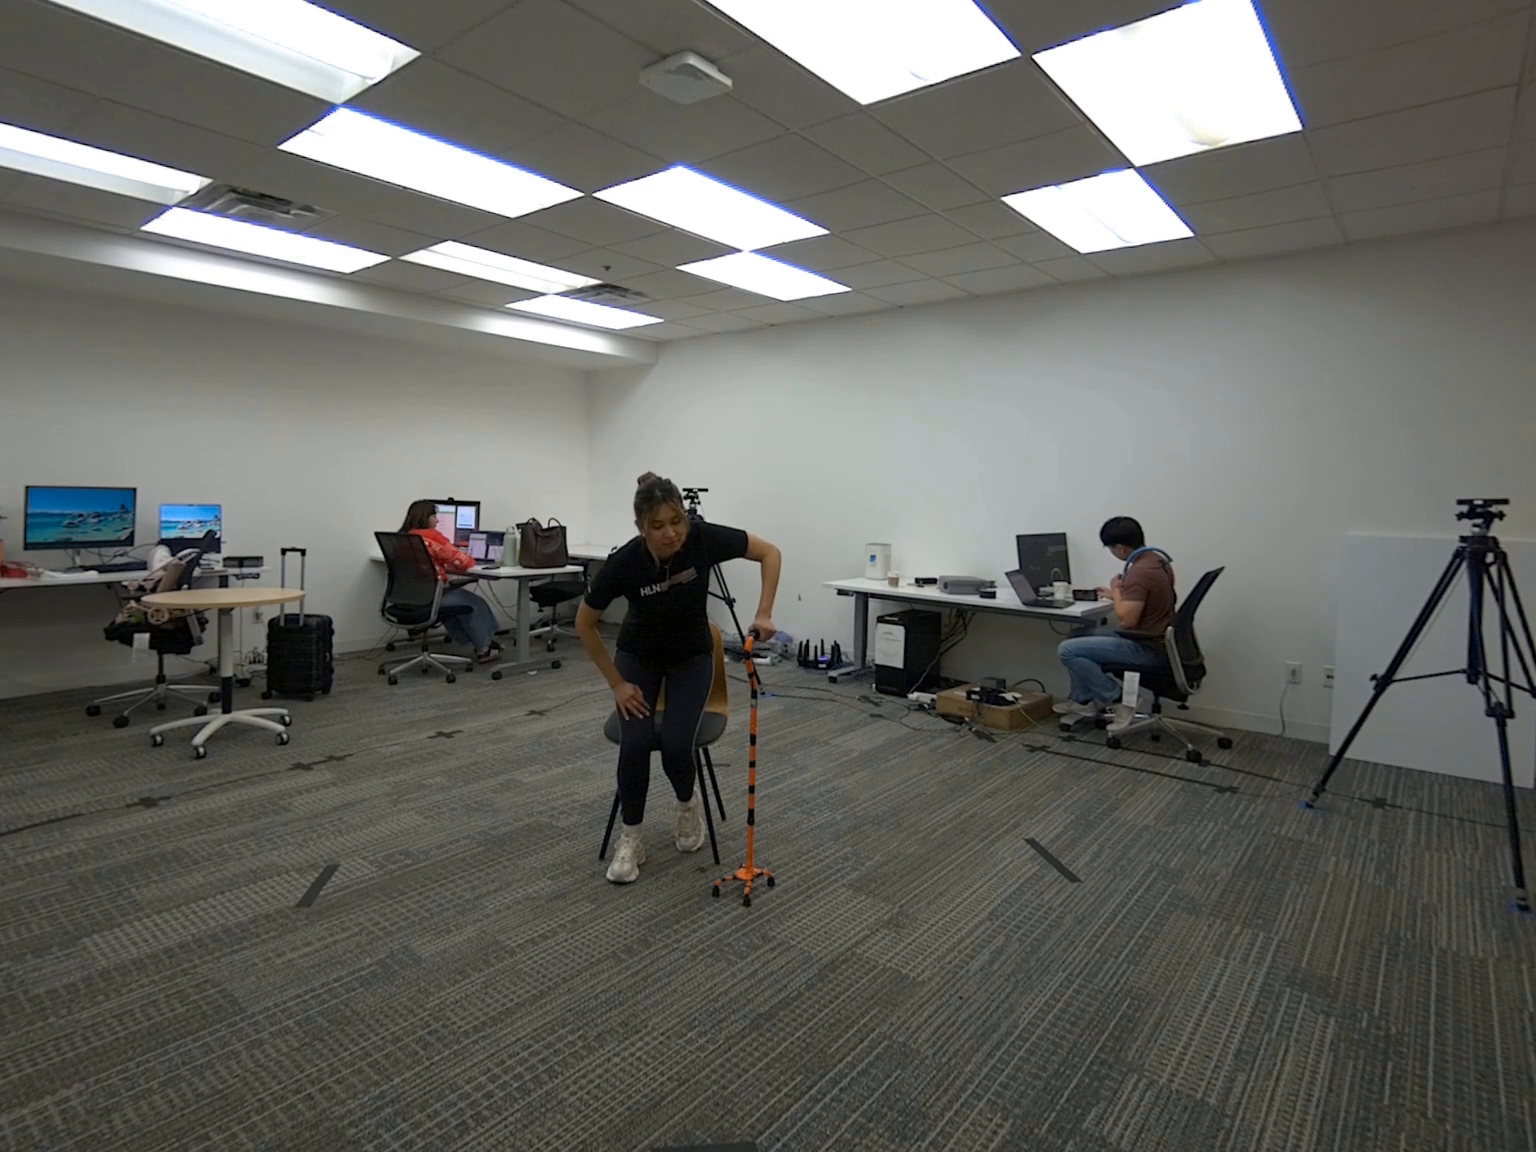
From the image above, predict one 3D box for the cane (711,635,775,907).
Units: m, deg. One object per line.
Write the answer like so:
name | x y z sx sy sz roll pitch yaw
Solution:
cane | -0.075 0.639 2.928 0.156 0.906 0.201 3 3 28
